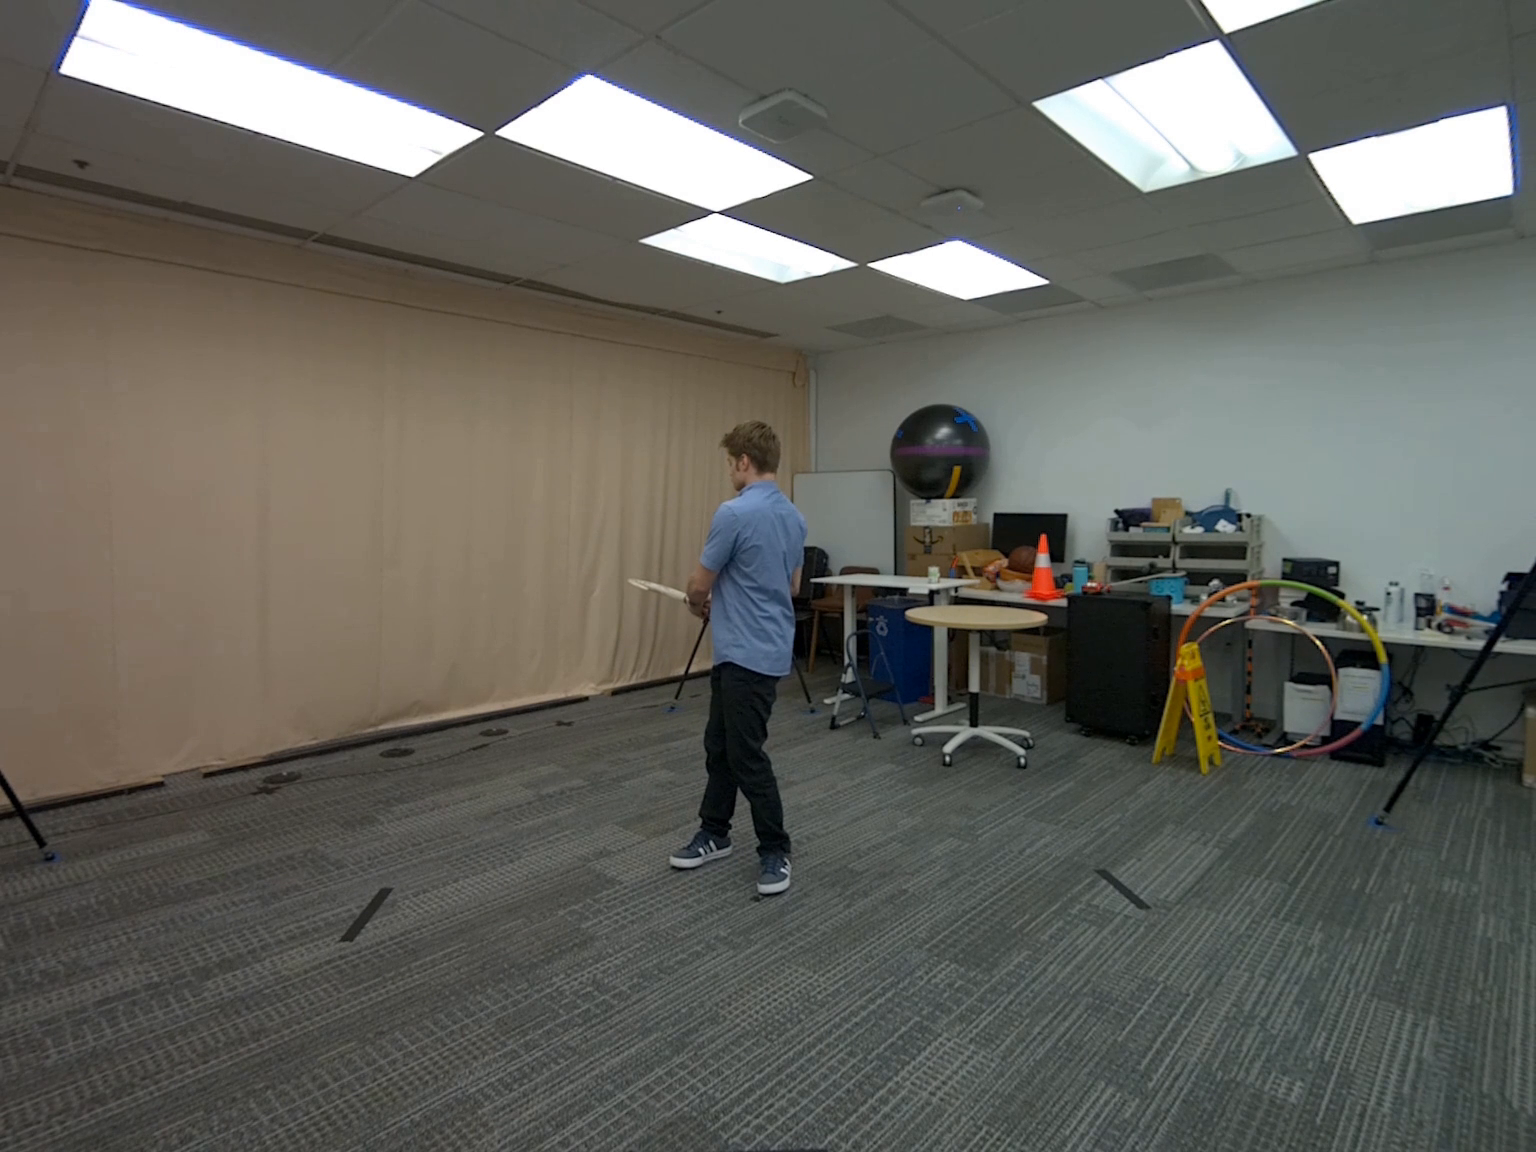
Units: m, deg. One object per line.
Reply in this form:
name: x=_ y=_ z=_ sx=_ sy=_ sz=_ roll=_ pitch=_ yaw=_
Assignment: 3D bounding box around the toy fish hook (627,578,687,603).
toy fish hook: x=-0.411 y=0.084 z=3.500 sx=0.524 sy=0.048 sz=0.217 roll=14 pitch=4 yaw=39
